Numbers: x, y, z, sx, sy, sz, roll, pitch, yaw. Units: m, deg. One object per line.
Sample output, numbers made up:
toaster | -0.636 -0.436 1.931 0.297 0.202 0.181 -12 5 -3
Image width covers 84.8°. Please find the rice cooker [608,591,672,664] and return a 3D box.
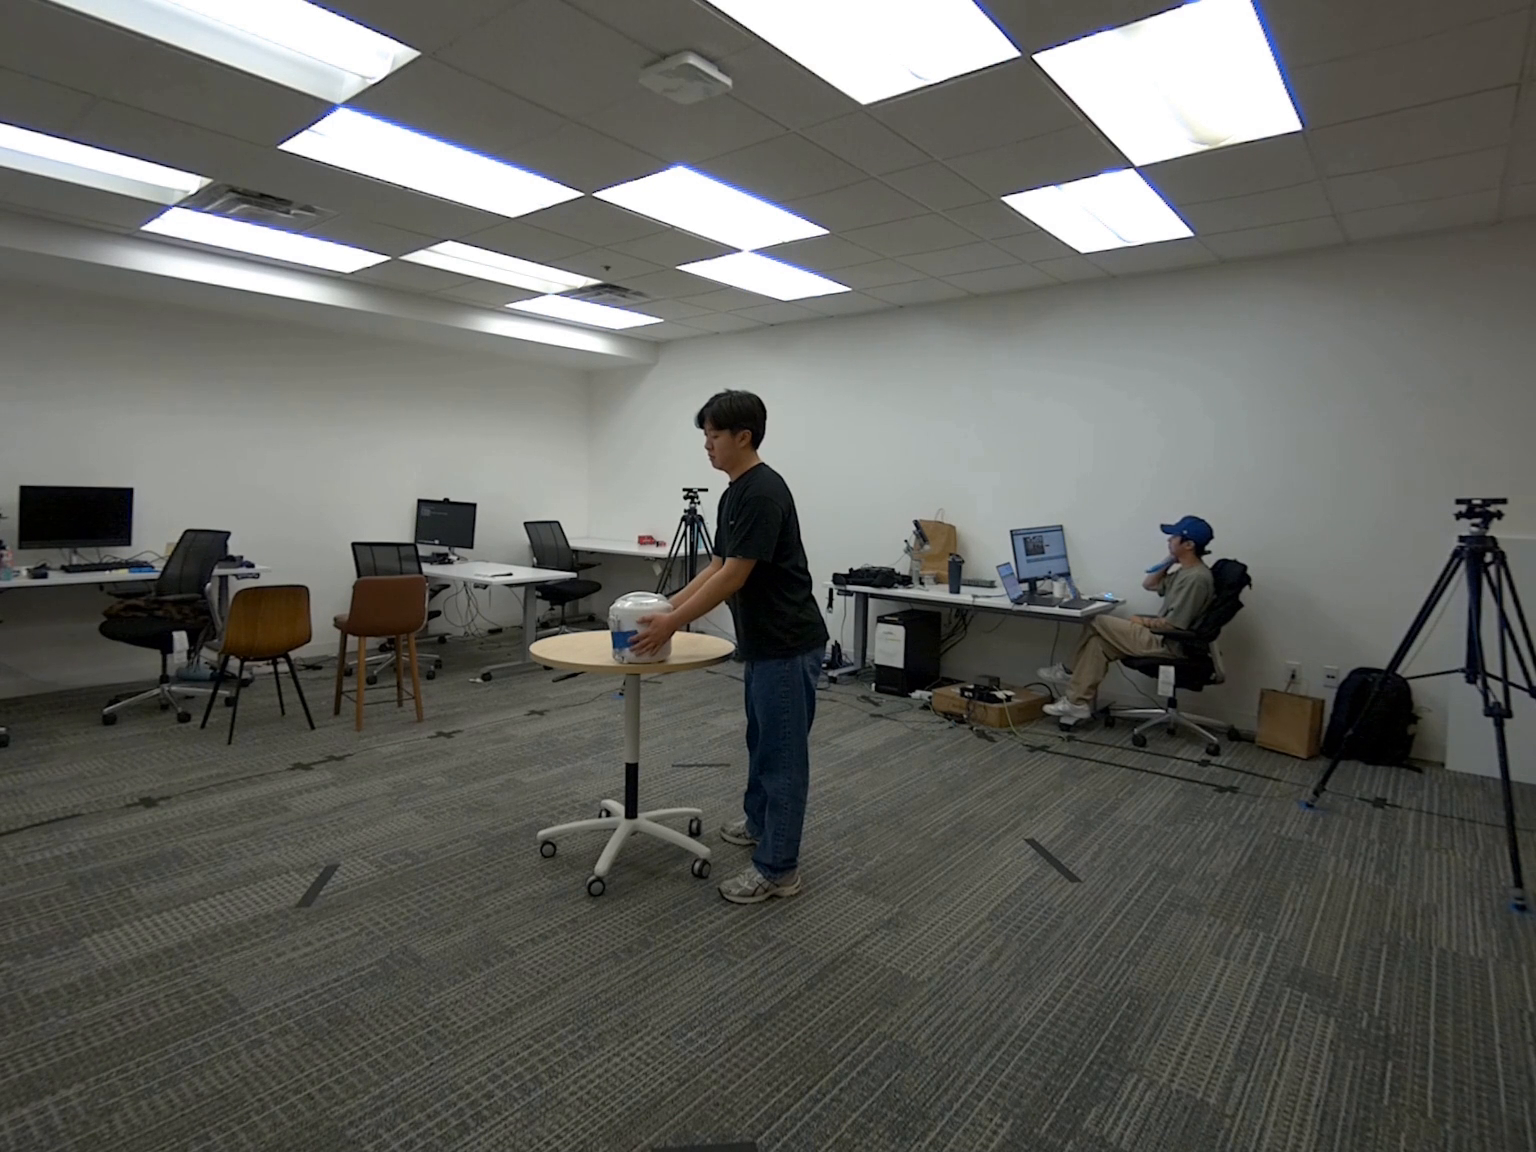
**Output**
rice cooker | -0.449 0.170 2.930 0.220 0.232 0.219 1 3 -4
